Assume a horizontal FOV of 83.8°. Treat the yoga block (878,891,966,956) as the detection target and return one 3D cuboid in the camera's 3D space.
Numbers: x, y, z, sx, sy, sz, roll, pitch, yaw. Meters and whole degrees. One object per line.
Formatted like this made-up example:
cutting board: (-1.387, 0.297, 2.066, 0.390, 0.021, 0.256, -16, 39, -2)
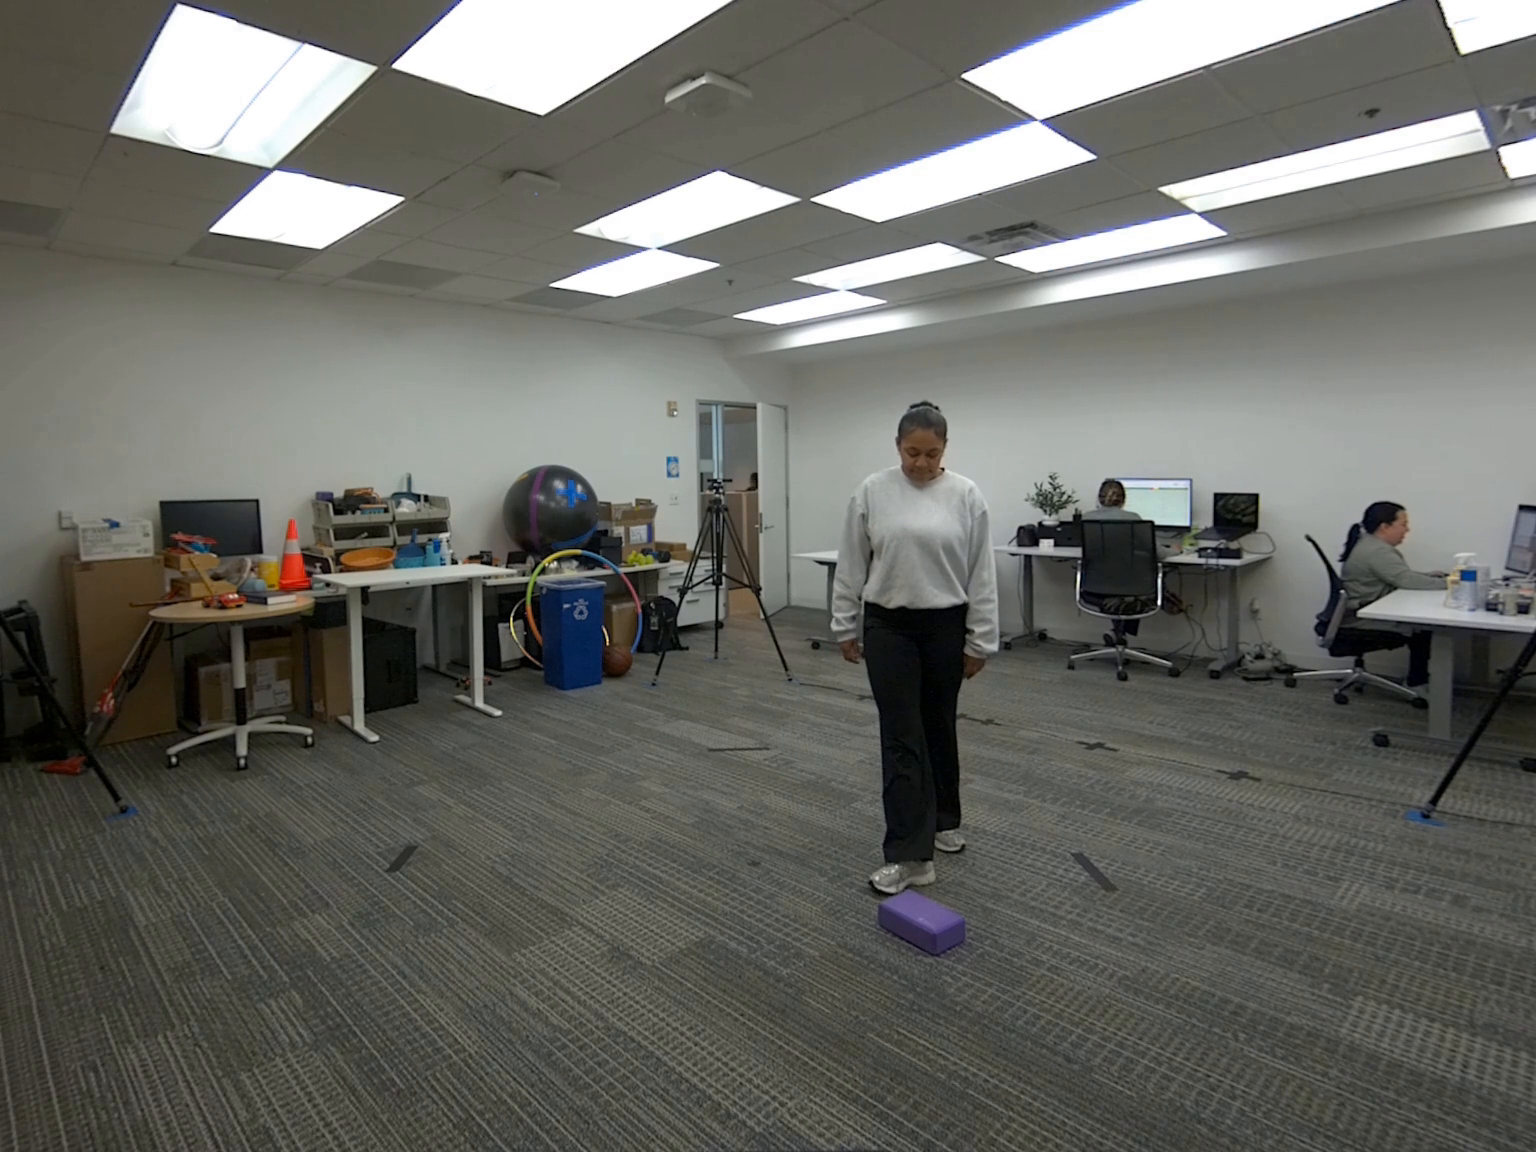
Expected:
yoga block: (0.473, 1.055, 2.607, 0.145, 0.076, 0.236, -6, 8, -37)
